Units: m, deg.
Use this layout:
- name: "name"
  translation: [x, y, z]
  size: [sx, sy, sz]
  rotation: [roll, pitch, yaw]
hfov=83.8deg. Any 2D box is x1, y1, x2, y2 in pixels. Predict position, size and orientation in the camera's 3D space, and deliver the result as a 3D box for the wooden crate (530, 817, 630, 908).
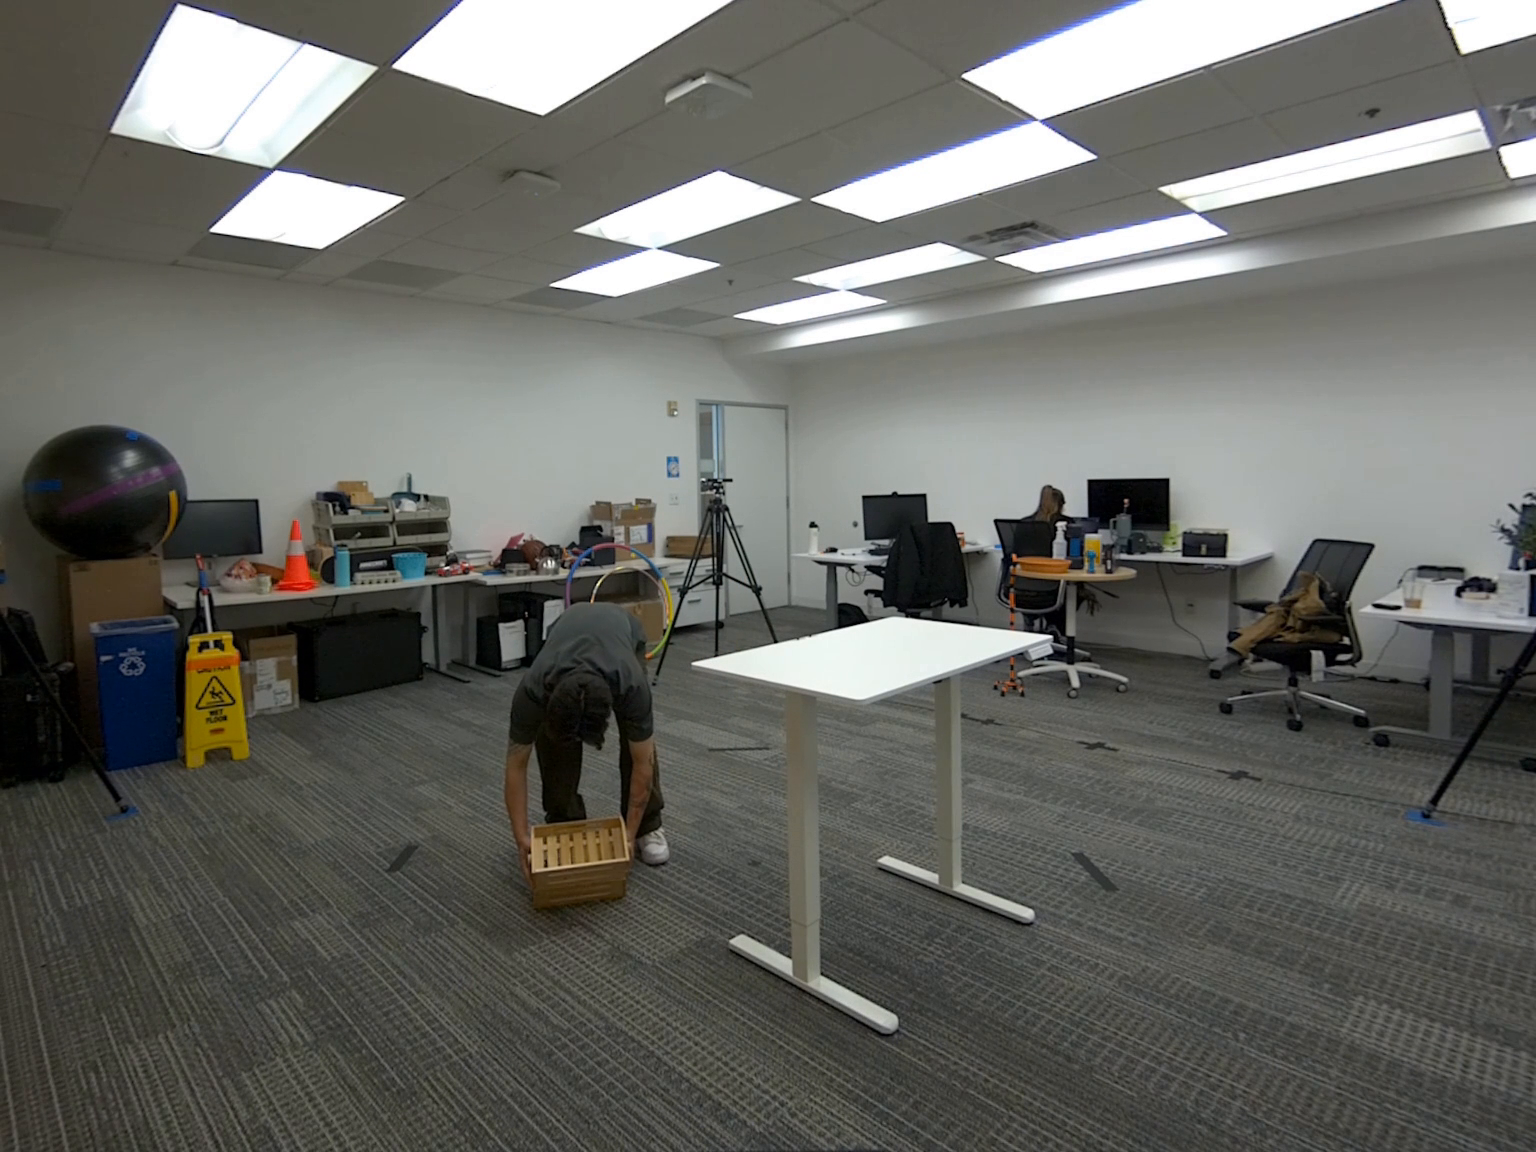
- name: "wooden crate"
  translation: [-0.634, 0.924, 2.845]
  size: [0.320, 0.267, 0.312]
  rotation: [-3, 34, -15]
